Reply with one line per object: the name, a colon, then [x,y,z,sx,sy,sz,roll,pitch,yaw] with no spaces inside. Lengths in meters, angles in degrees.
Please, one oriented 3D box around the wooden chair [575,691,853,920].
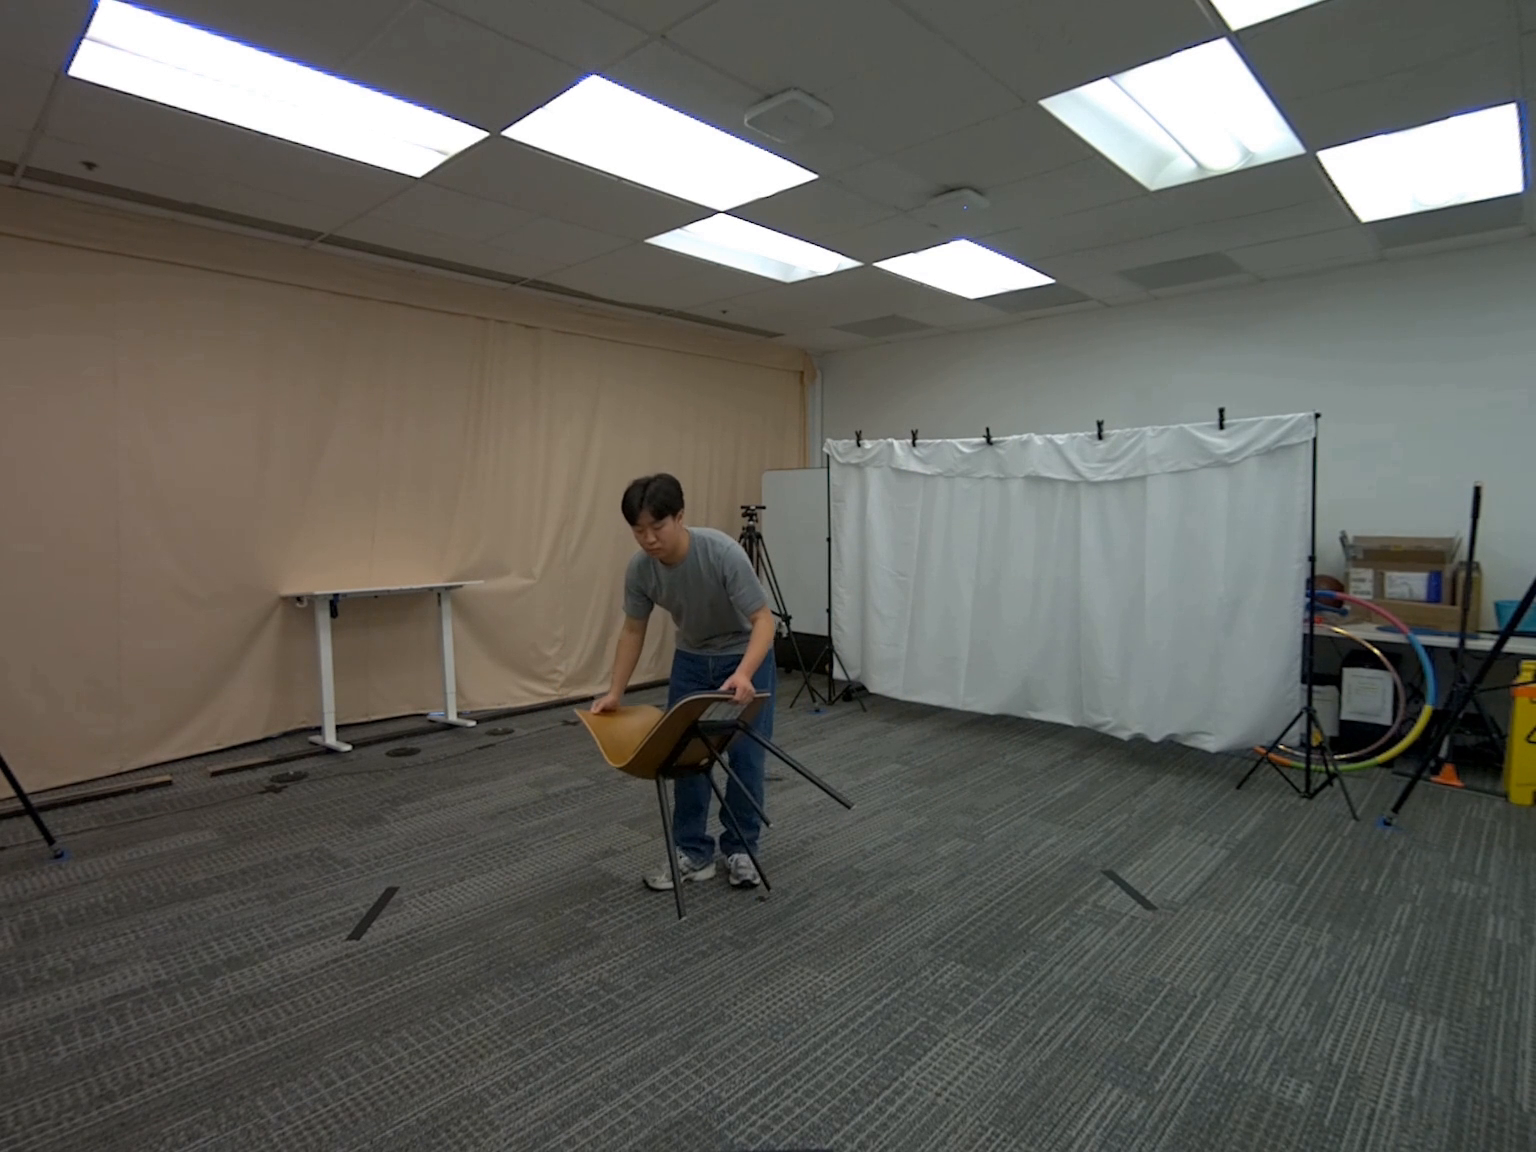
wooden chair: [-0.220,0.579,2.779,0.462,0.524,0.906,10,30,-51]
